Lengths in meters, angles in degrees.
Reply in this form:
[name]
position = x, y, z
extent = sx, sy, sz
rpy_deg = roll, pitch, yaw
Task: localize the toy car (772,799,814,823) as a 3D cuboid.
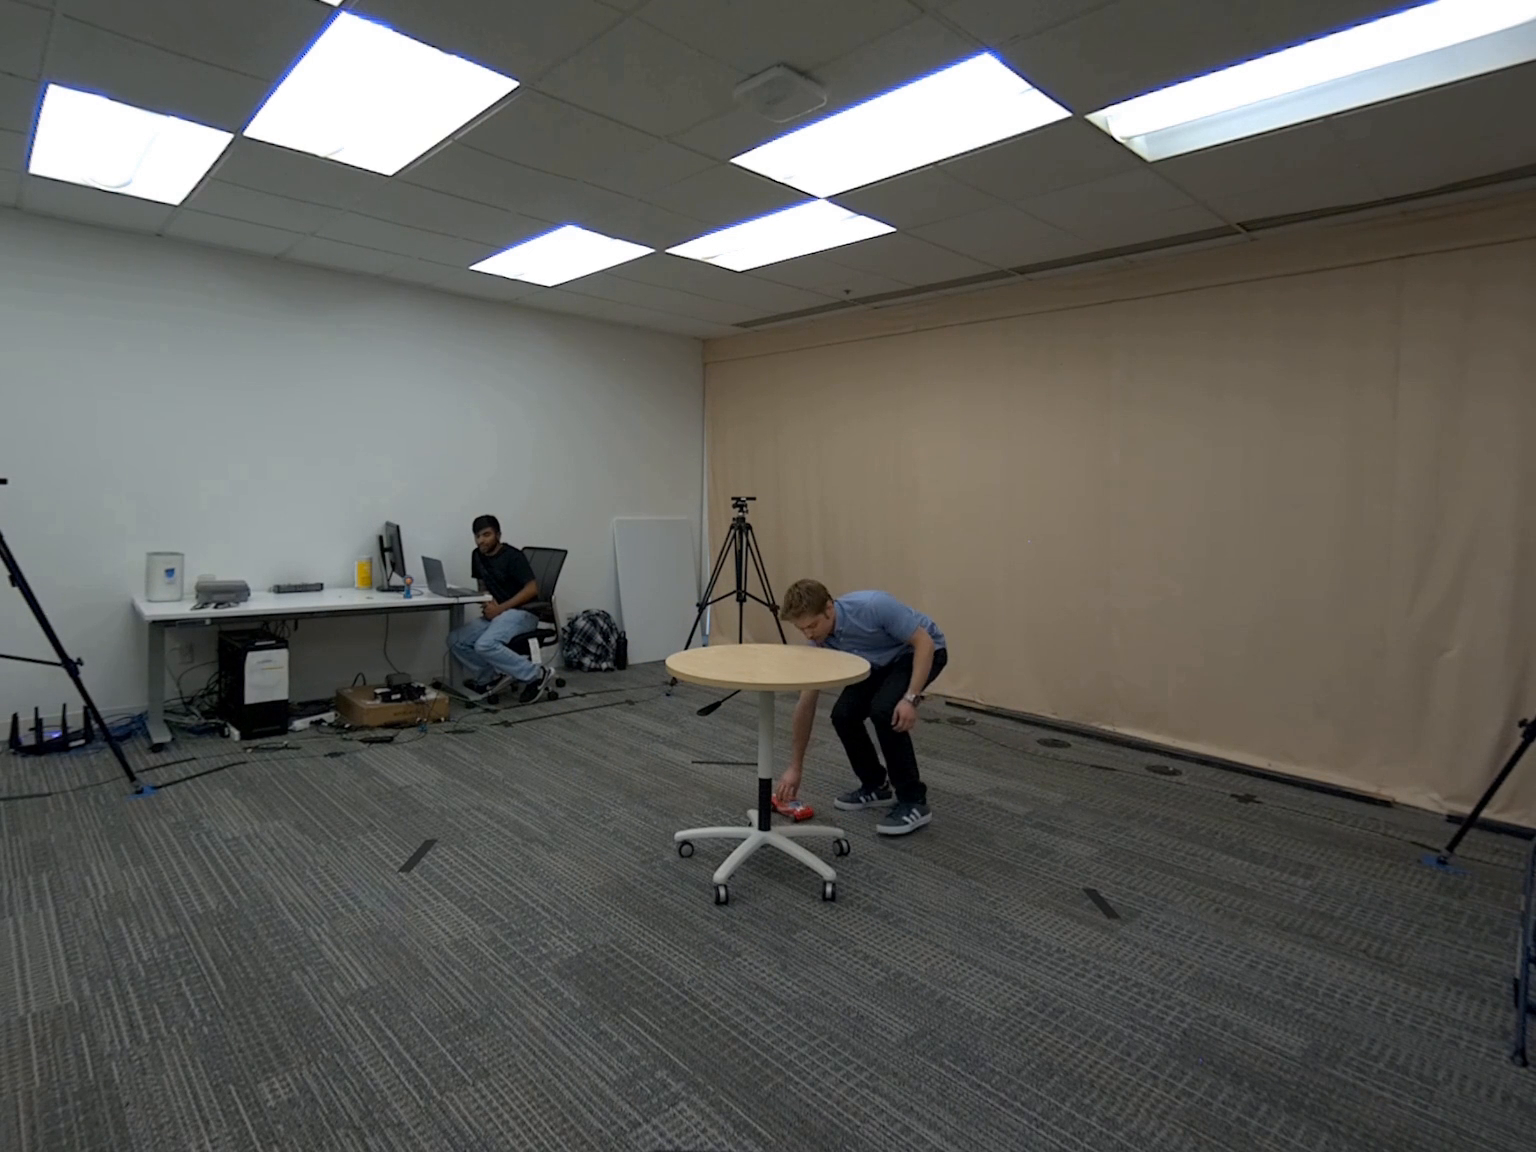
[toy car]
position = 0.086, 1.026, 3.754
extent = 0.127, 0.082, 0.262
rpy_deg = -2, 16, -35
